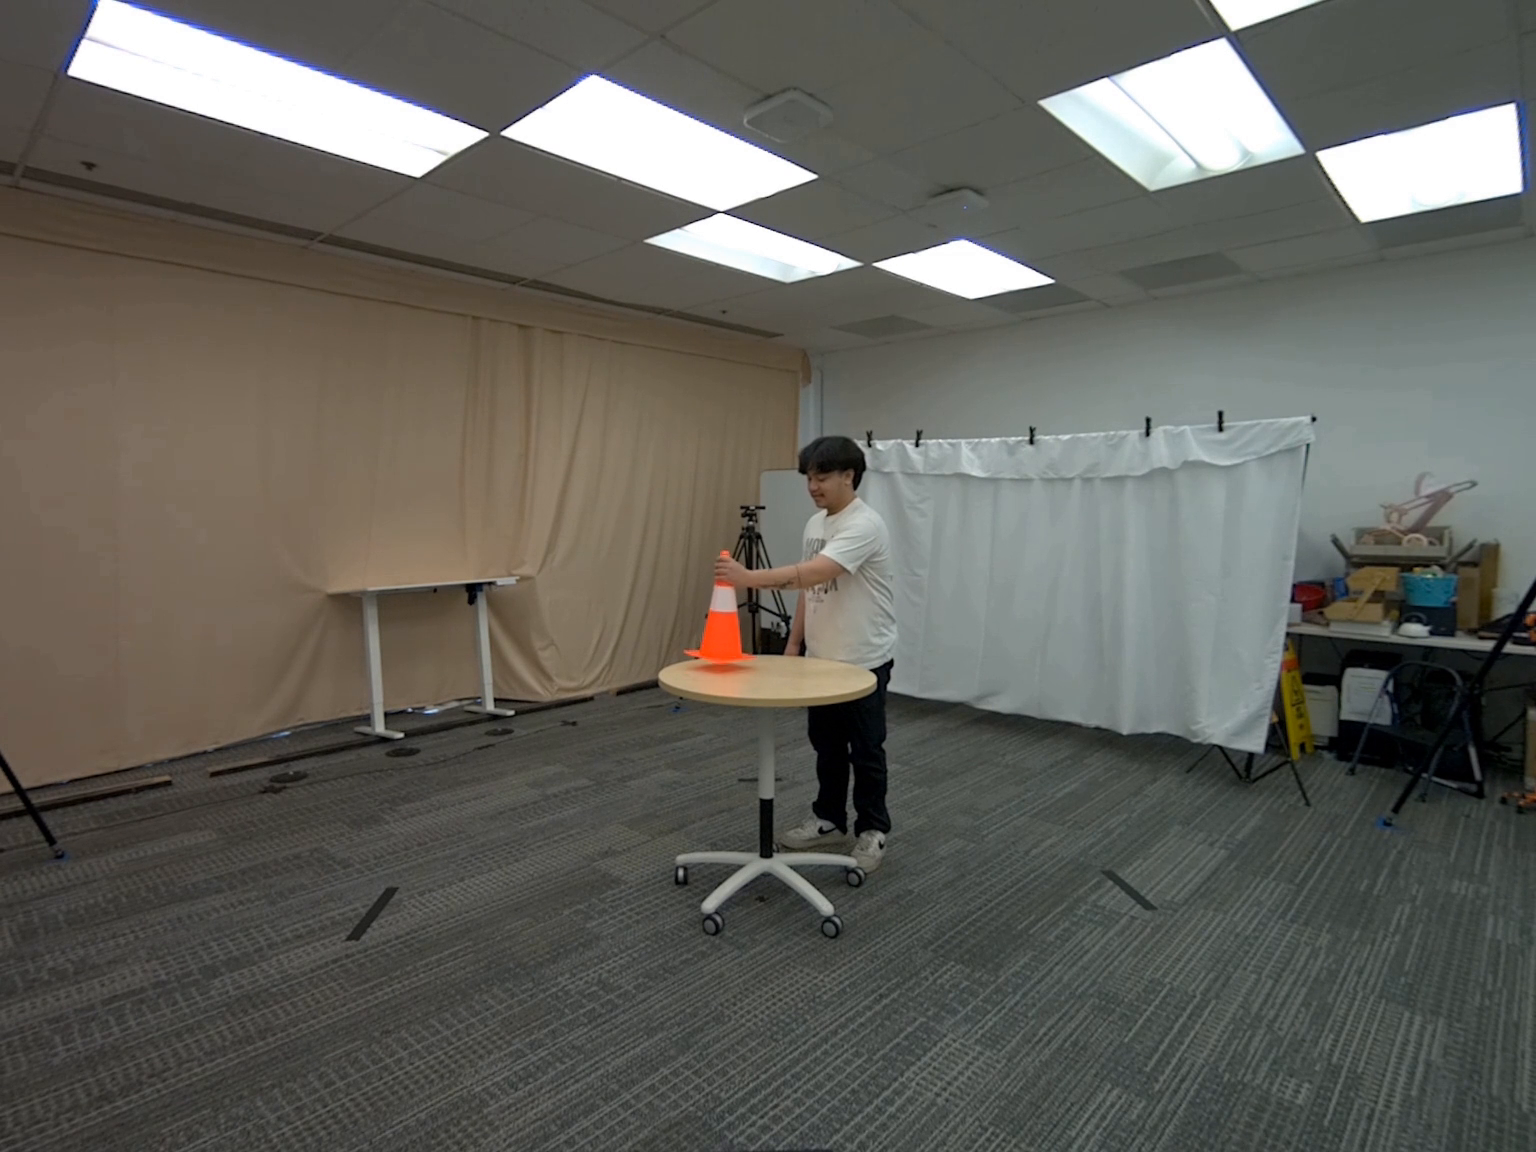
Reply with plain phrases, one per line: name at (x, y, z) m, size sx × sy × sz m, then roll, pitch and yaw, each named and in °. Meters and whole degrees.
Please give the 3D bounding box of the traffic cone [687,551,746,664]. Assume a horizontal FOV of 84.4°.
traffic cone at (-0.154, 0.106, 3.065) m, size 0.212 × 0.383 × 0.197 m, roll 8°, pitch 4°, yaw 36°
